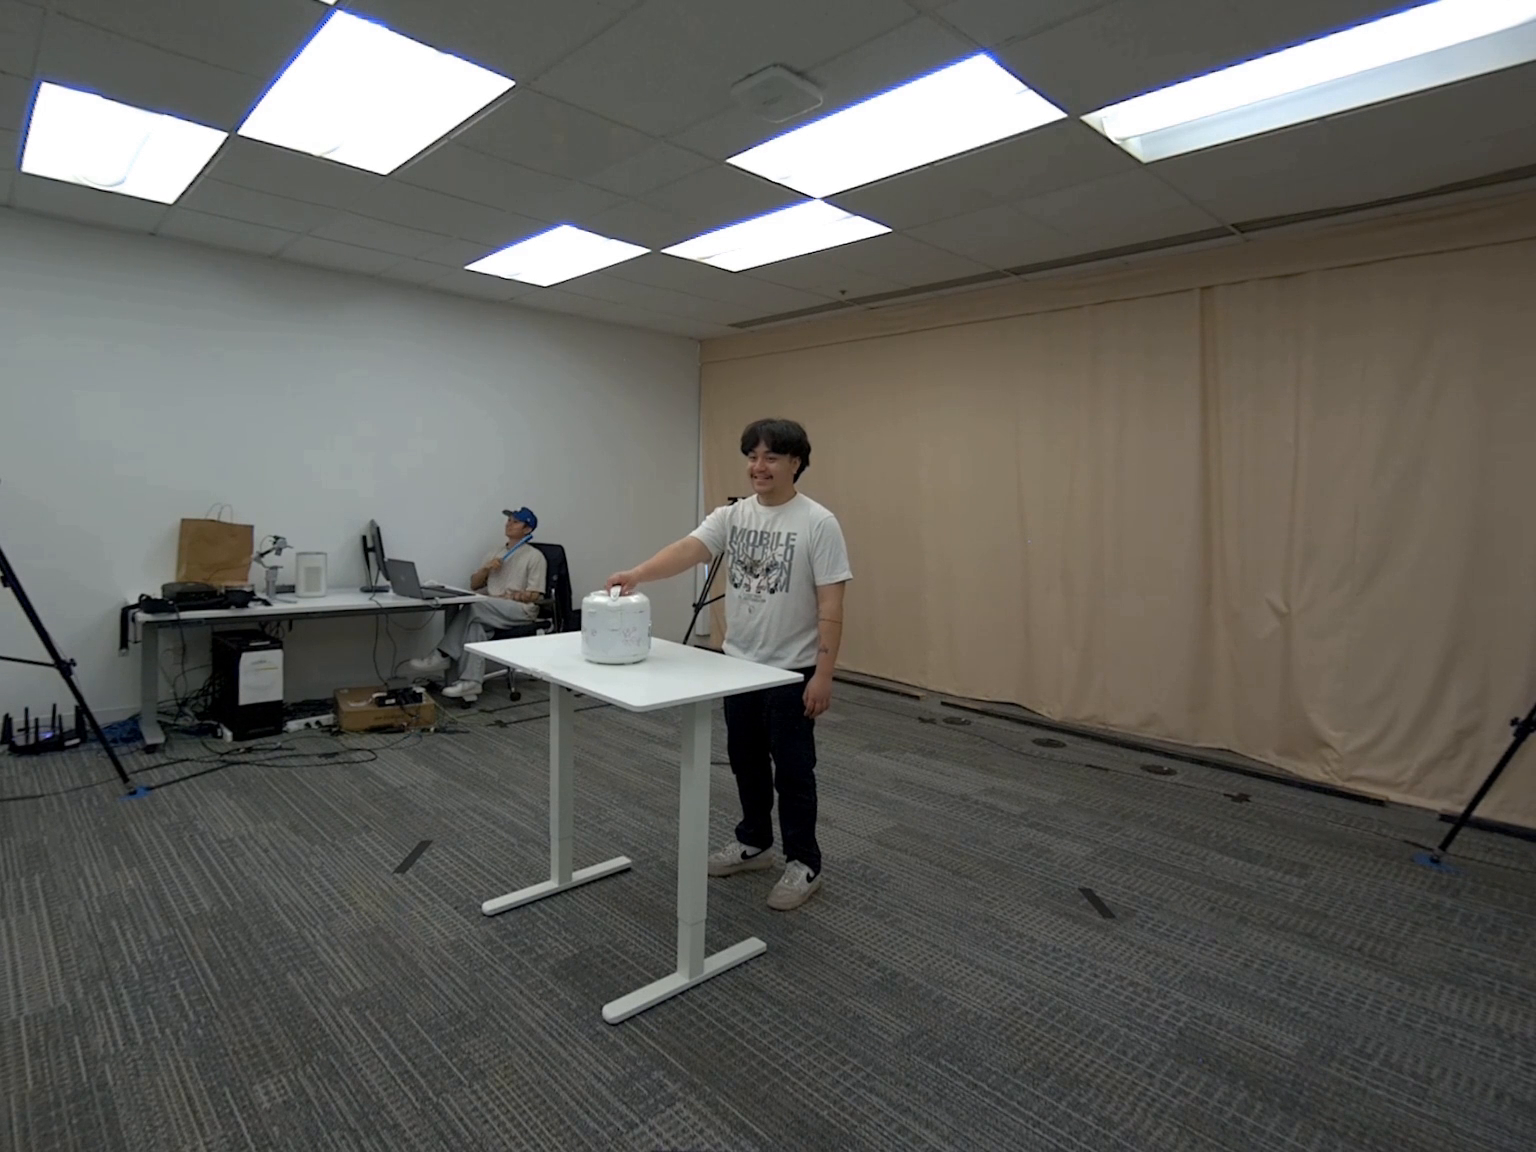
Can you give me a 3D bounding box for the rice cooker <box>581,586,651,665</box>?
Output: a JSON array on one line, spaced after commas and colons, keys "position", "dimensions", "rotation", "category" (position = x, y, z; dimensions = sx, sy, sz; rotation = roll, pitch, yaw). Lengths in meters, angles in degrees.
[{"position": [-0.481, 0.148, 2.610], "dimensions": [0.217, 0.232, 0.222], "rotation": [1, 6, -3], "category": "rice cooker"}]
